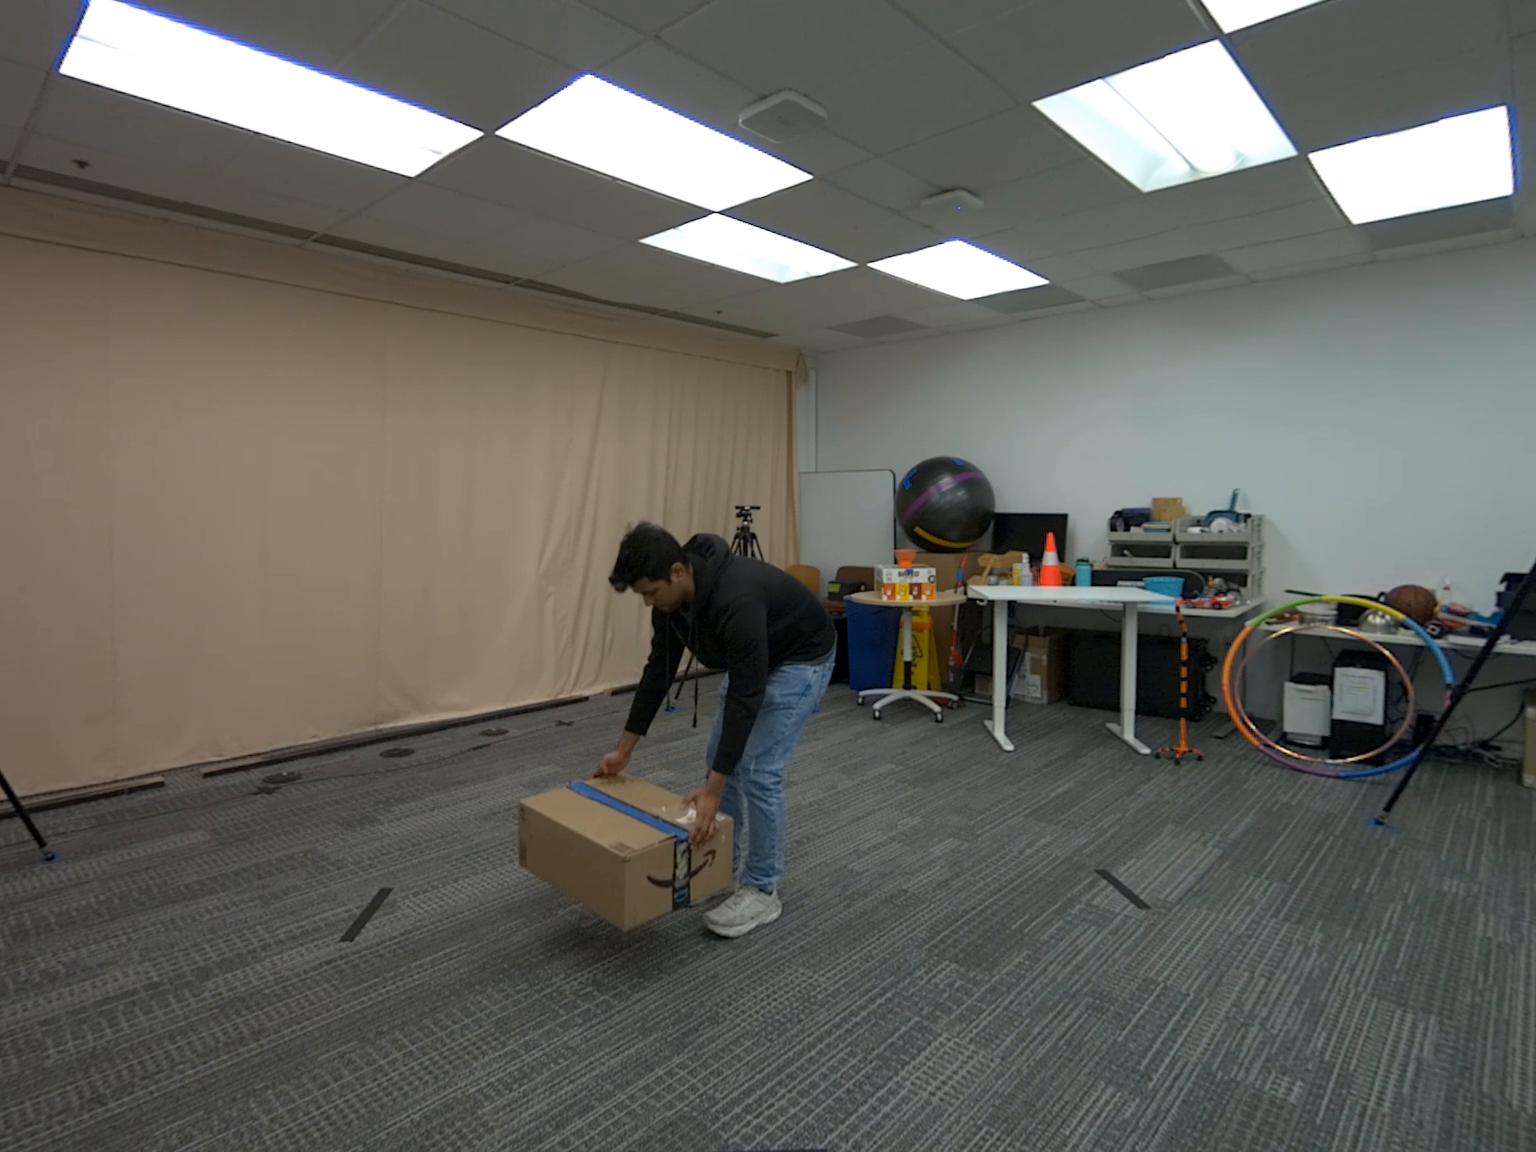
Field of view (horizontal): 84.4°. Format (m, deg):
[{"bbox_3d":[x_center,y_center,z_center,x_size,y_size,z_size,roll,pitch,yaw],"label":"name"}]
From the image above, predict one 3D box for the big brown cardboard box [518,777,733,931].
[{"bbox_3d":[-0.445,0.824,2.648,0.609,0.232,0.405,6,8,45],"label":"big brown cardboard box"}]
